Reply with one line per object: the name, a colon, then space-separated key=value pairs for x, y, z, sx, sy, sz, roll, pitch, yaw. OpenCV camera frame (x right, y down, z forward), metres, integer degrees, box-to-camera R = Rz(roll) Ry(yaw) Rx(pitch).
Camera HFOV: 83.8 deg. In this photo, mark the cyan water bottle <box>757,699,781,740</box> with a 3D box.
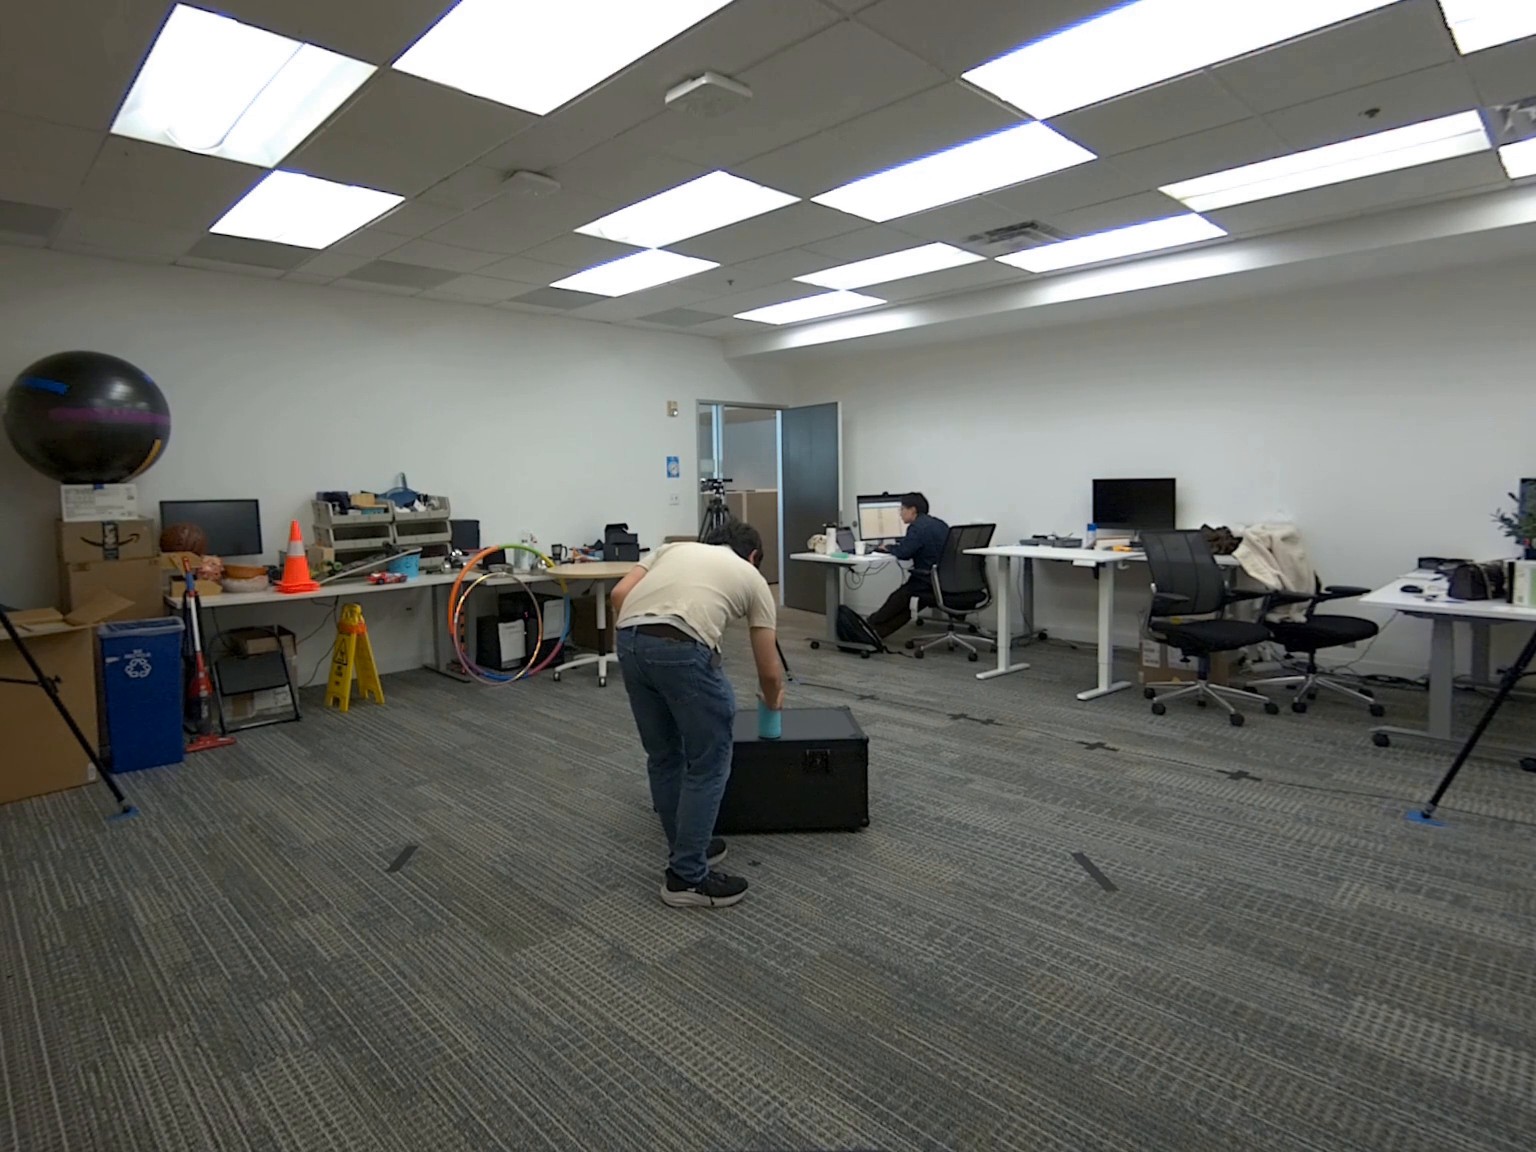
cyan water bottle: x=0.015 y=0.493 z=3.405 sx=0.092 sy=0.283 sz=0.092 roll=0 pitch=1 yaw=-2
